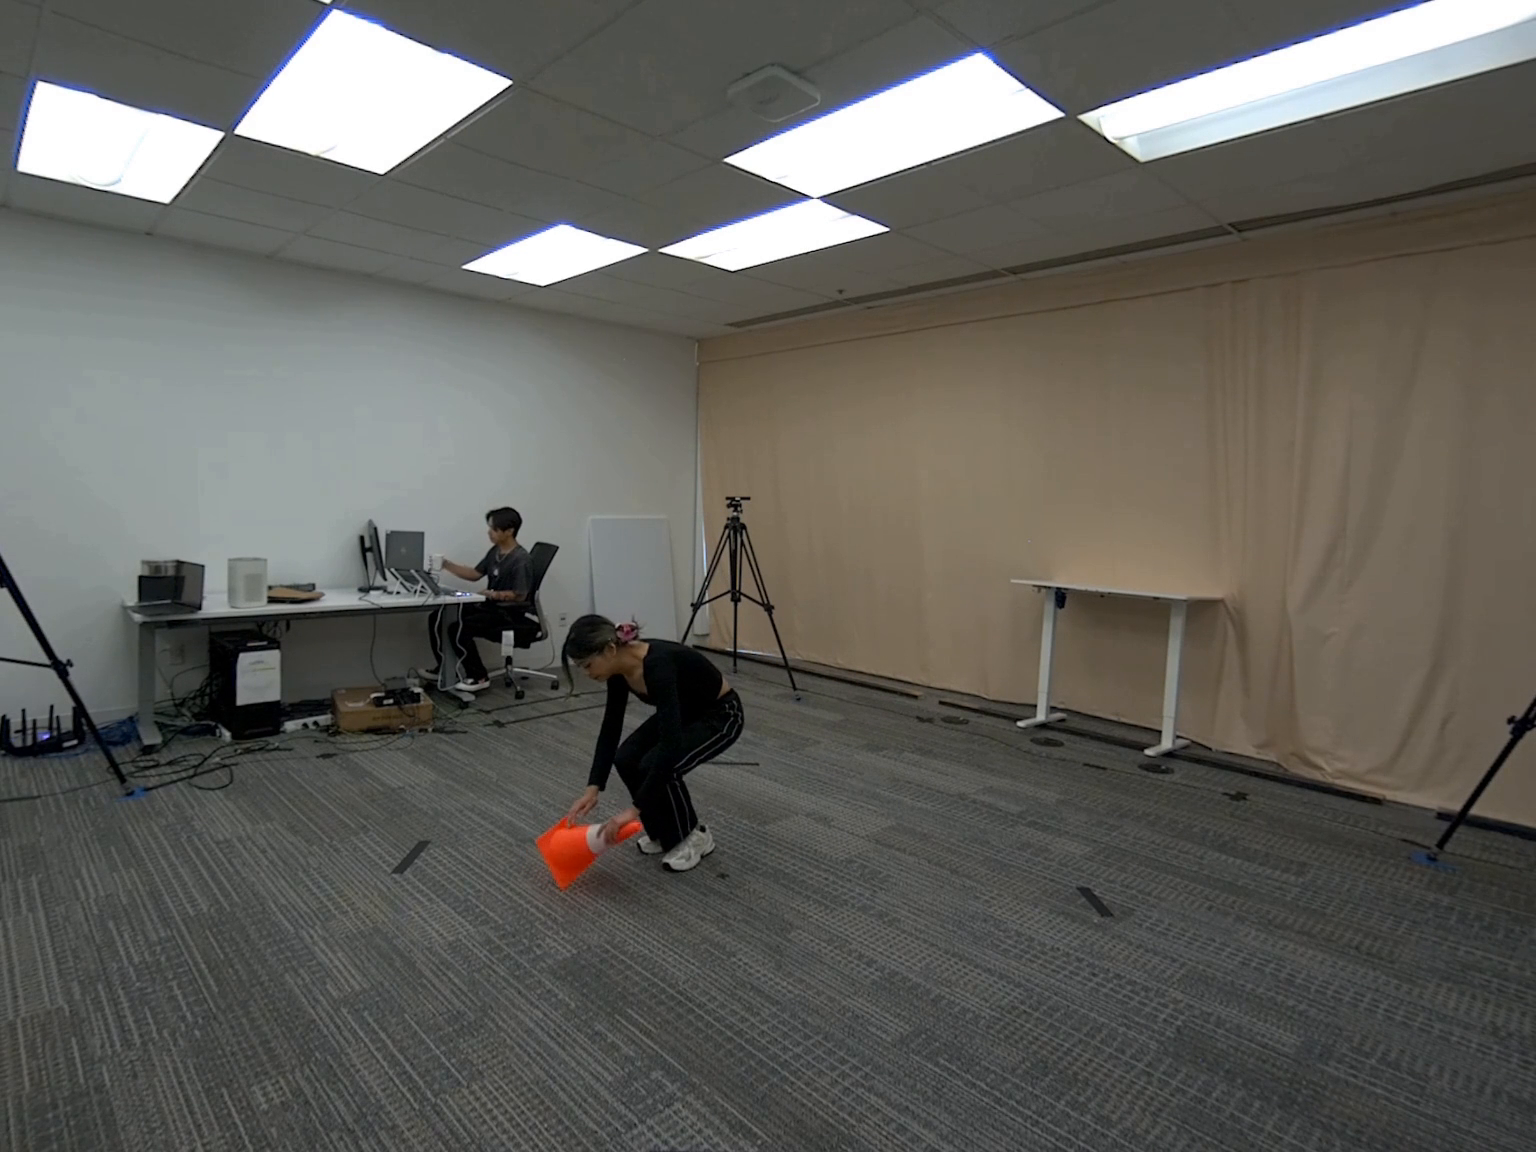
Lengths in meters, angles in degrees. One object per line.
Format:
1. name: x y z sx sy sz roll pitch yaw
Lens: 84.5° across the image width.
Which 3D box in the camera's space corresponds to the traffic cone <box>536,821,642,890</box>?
1. traffic cone: -0.596 0.925 2.937 0.387 0.203 0.203 -28 1 31
